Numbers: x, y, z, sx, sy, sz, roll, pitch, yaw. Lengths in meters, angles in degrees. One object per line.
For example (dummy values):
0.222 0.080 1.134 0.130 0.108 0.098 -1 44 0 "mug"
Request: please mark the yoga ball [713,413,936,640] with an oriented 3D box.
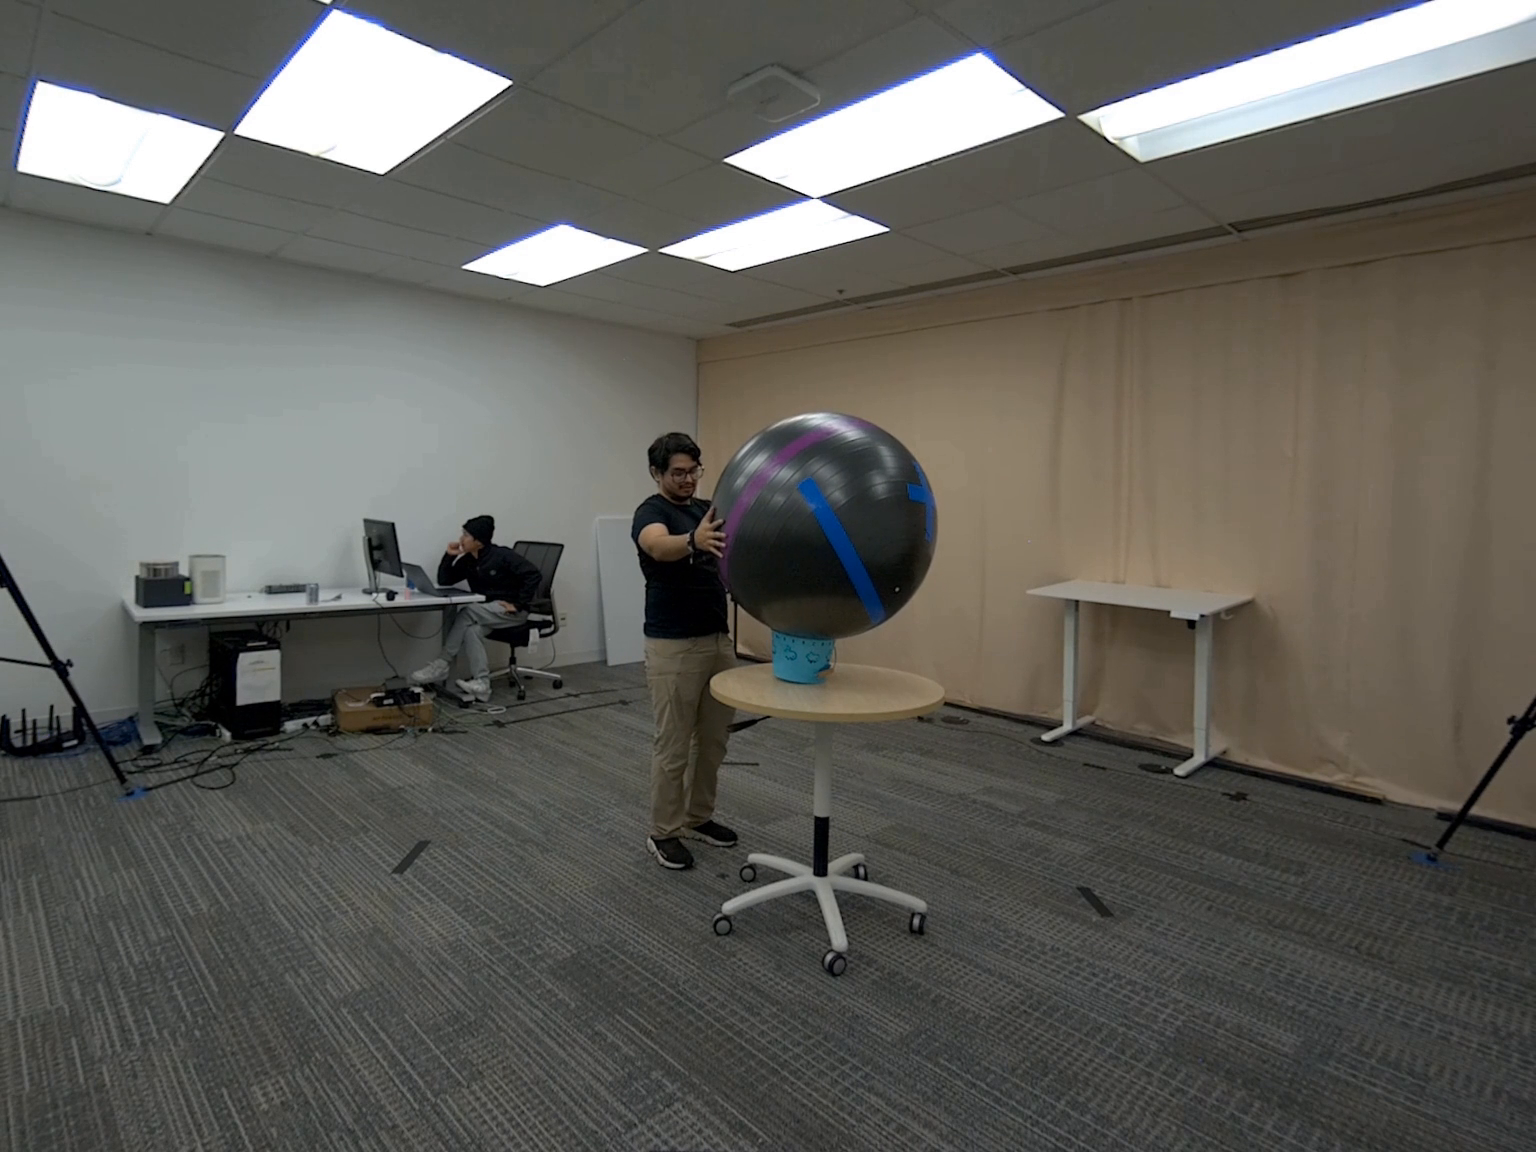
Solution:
0.171 -0.159 2.819 0.757 0.756 0.761 1 4 -1 "yoga ball"
